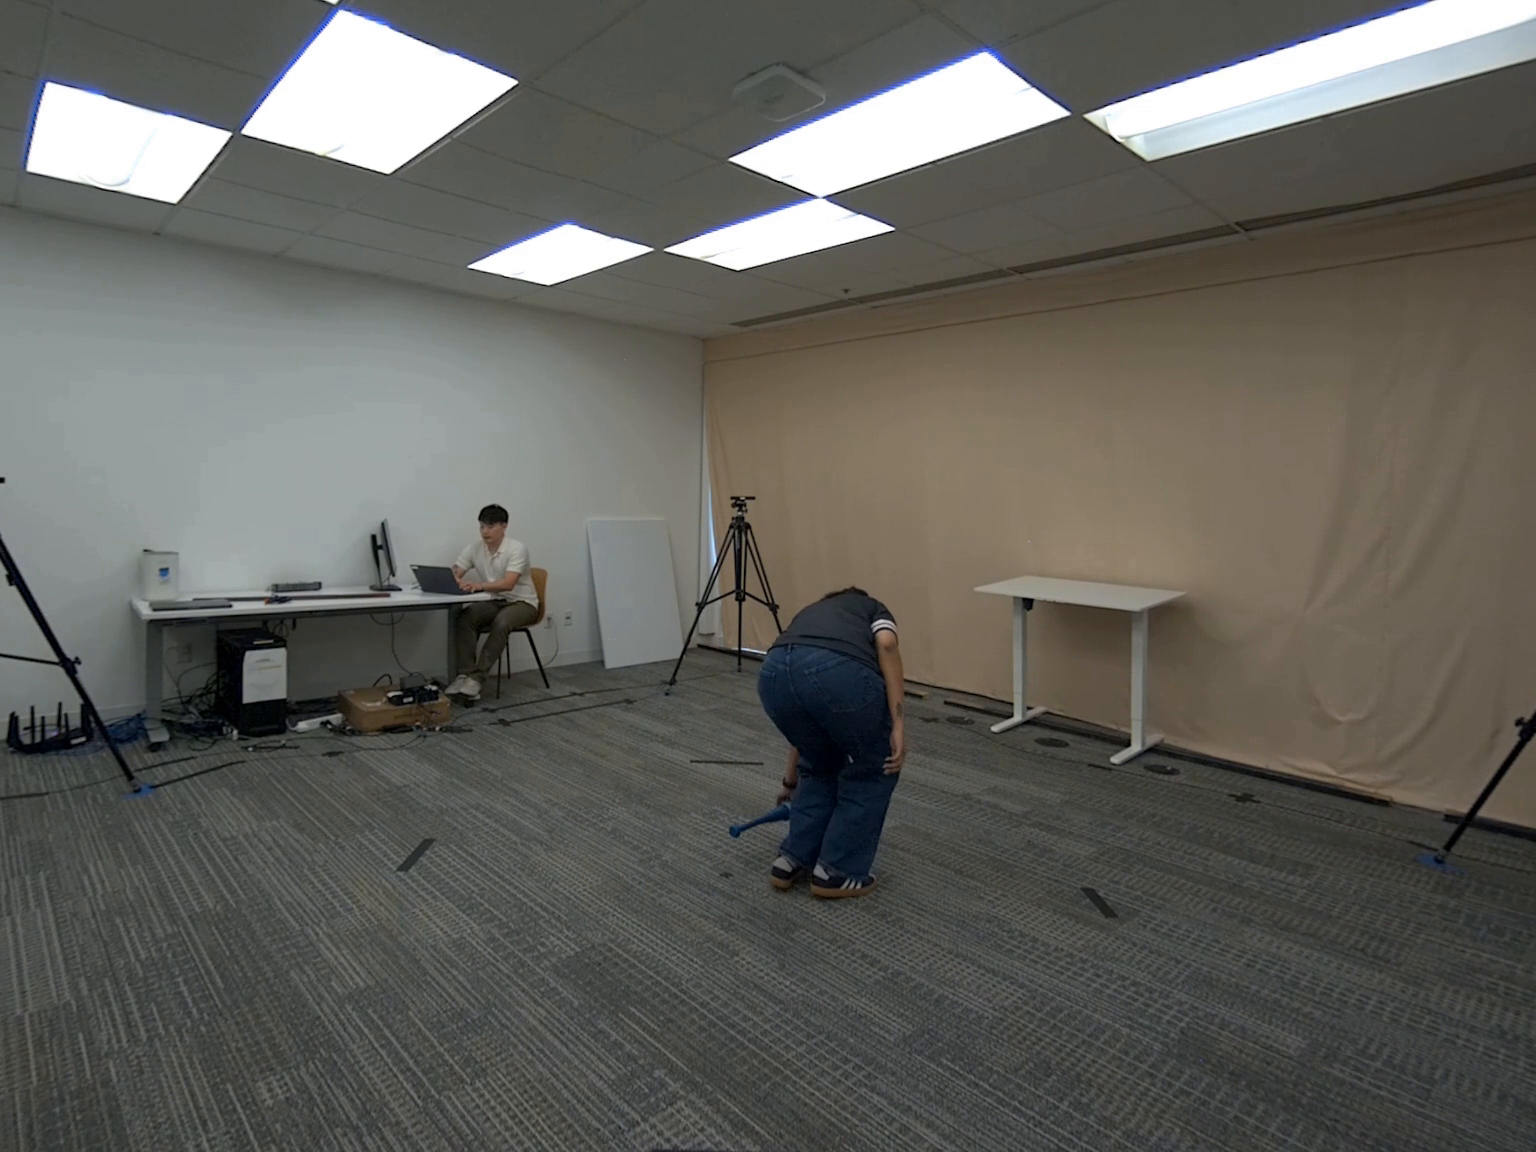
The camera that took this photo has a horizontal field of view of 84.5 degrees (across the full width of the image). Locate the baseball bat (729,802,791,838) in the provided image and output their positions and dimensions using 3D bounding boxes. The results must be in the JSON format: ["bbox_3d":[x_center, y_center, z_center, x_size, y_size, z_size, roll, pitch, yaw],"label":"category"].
[{"bbox_3d":[0.060,0.947,3.370,0.531,0.088,0.091,-7,9,-42],"label":"baseball bat"}]
